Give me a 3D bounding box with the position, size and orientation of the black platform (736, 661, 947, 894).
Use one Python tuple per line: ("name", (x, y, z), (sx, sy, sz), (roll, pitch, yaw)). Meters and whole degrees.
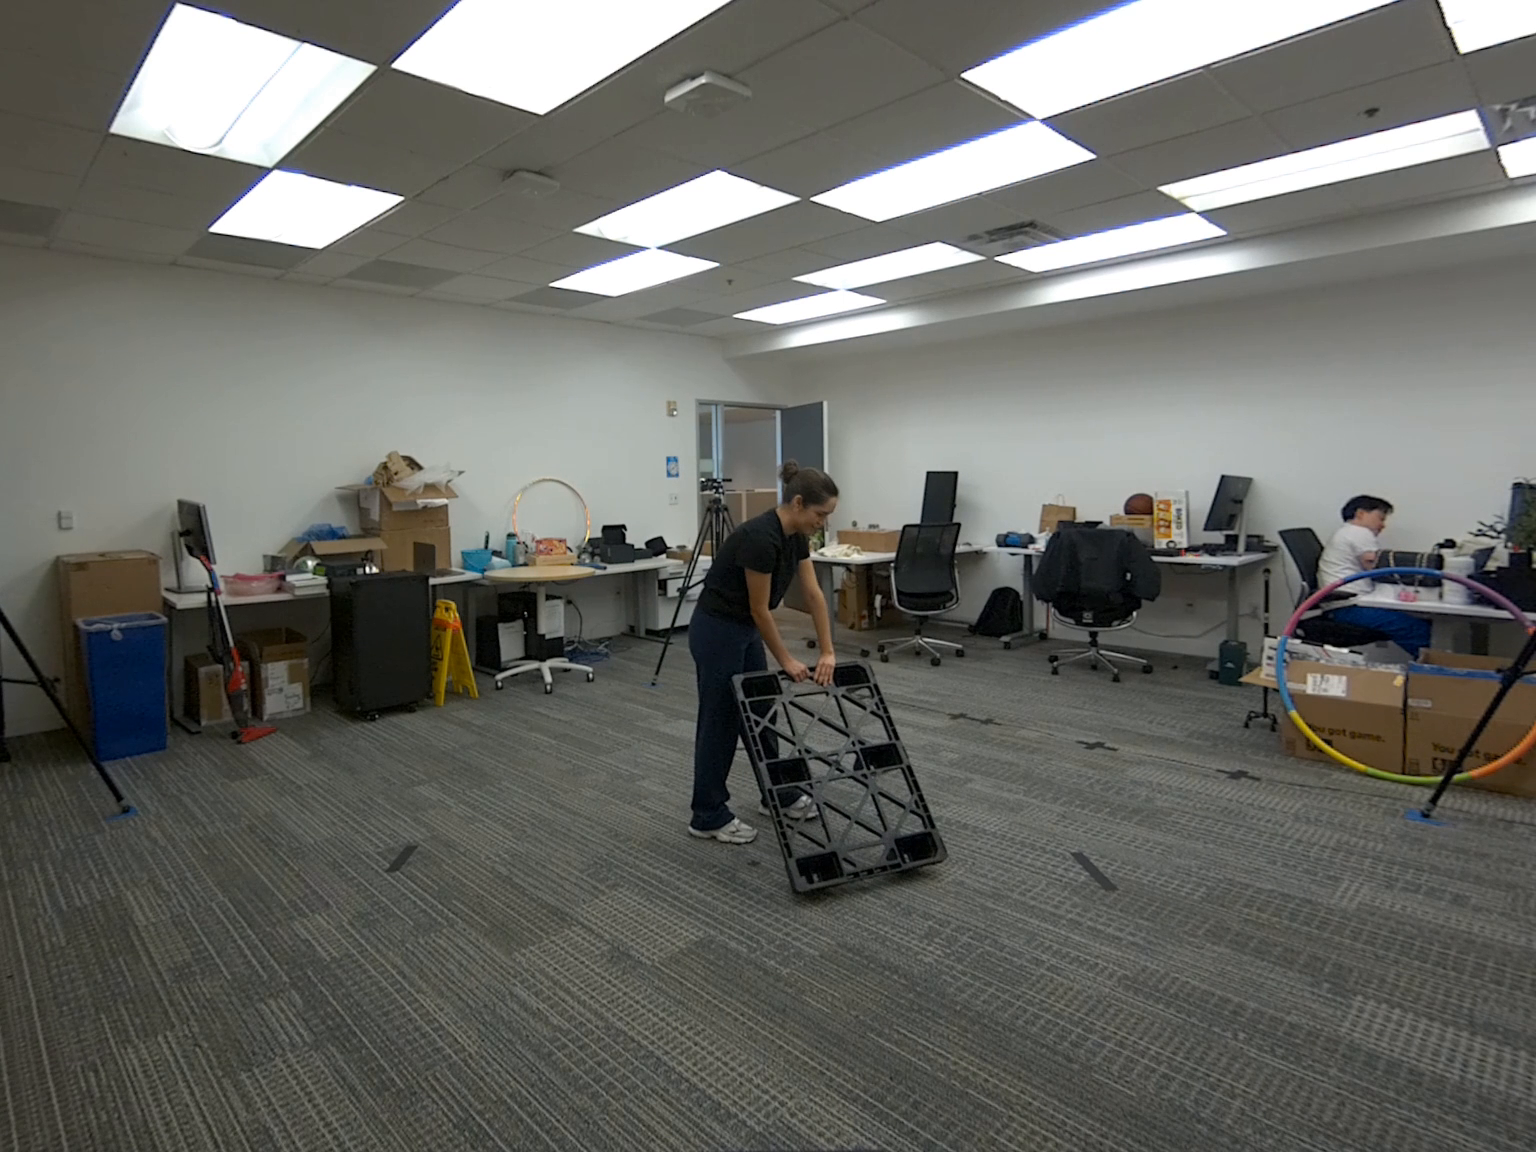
("black platform", (0.225, 0.714, 3.150), (0.594, 0.831, 0.141), (-4, -35, -22))
